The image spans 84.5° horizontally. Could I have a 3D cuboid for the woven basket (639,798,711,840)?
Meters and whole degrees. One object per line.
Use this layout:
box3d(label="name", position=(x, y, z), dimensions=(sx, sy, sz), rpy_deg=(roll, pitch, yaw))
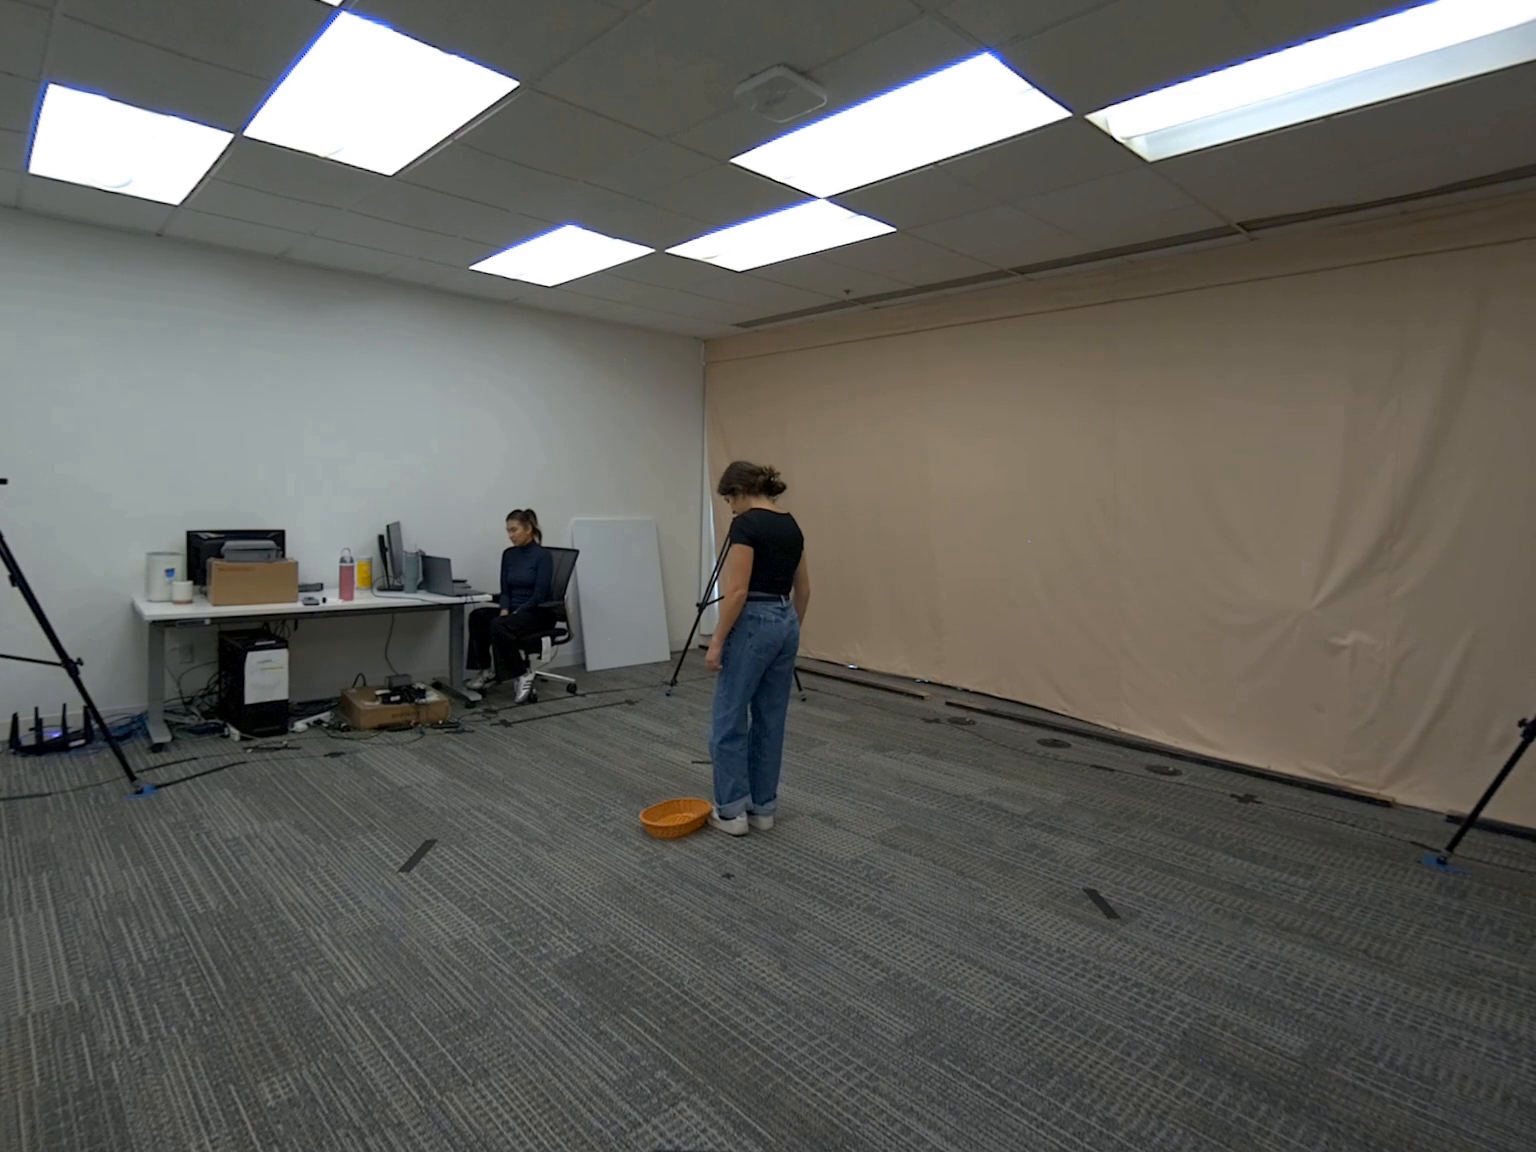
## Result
box3d(label="woven basket", position=(-0.403, 1.018, 3.549), dimensions=(0.258, 0.073, 0.343), rpy_deg=(3, 6, 36))
